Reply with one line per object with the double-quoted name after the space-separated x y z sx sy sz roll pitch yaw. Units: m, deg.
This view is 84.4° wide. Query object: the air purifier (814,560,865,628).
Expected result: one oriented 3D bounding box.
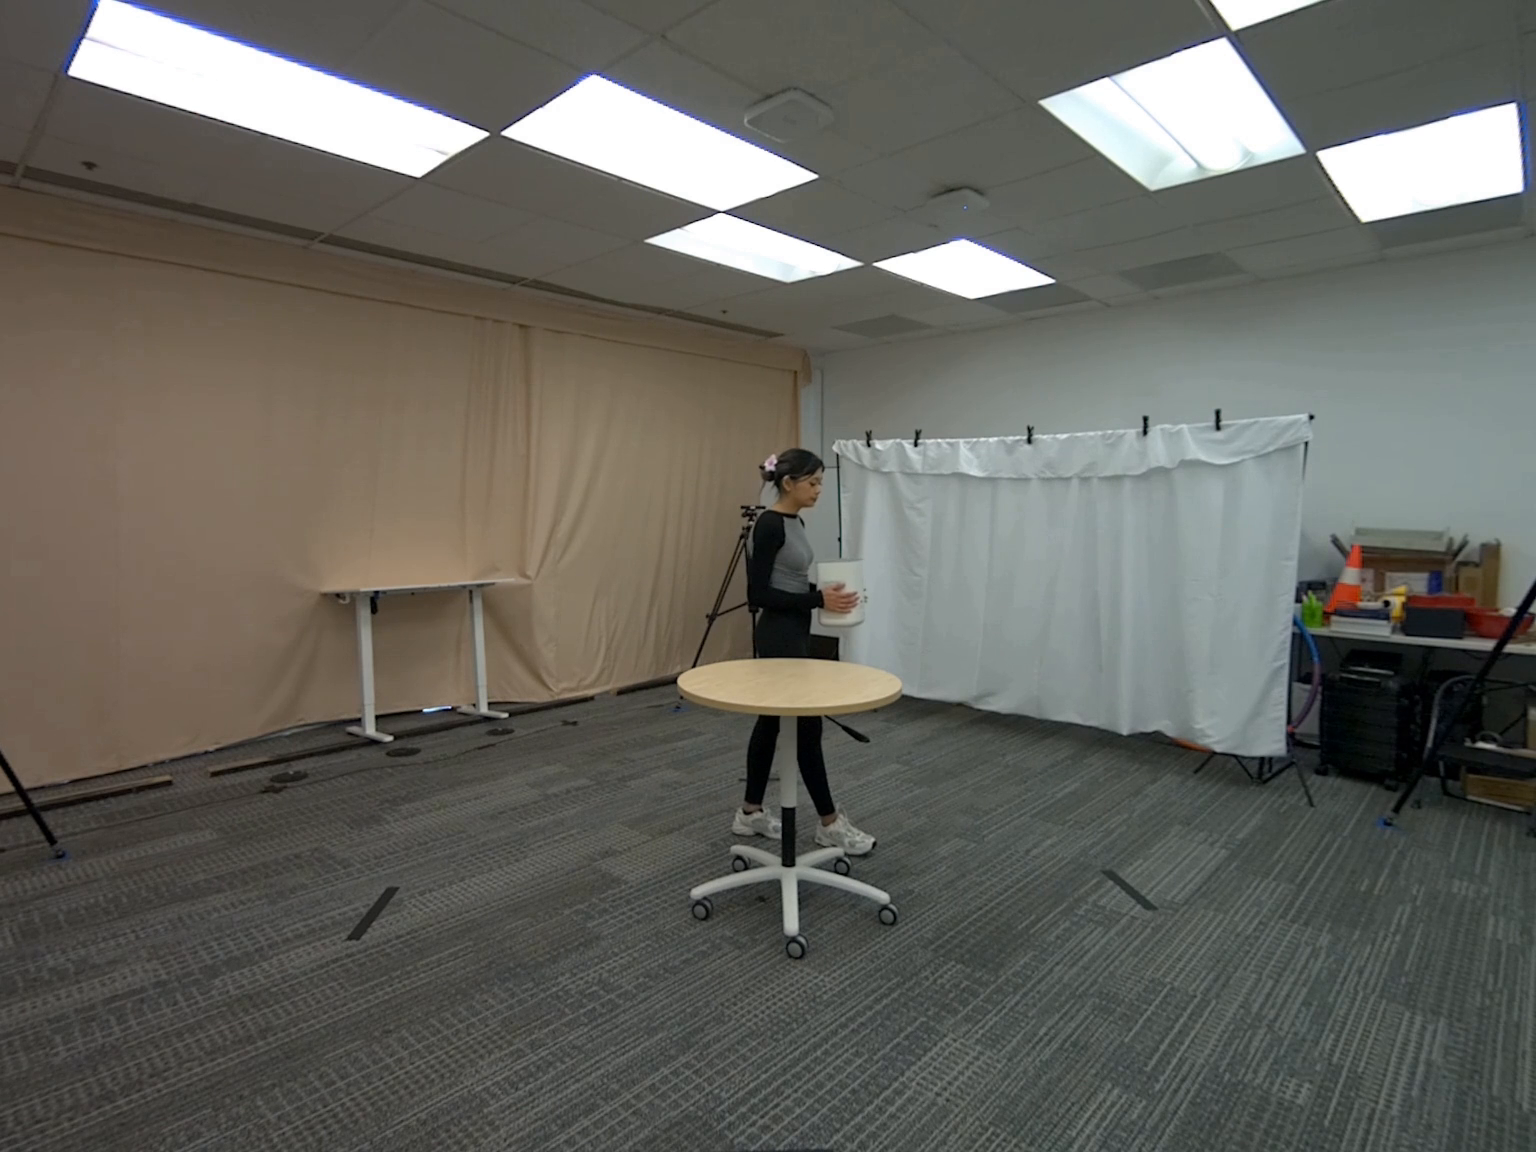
0.296 0.065 3.388 0.175 0.265 0.168 -1 4 22 "air purifier"
